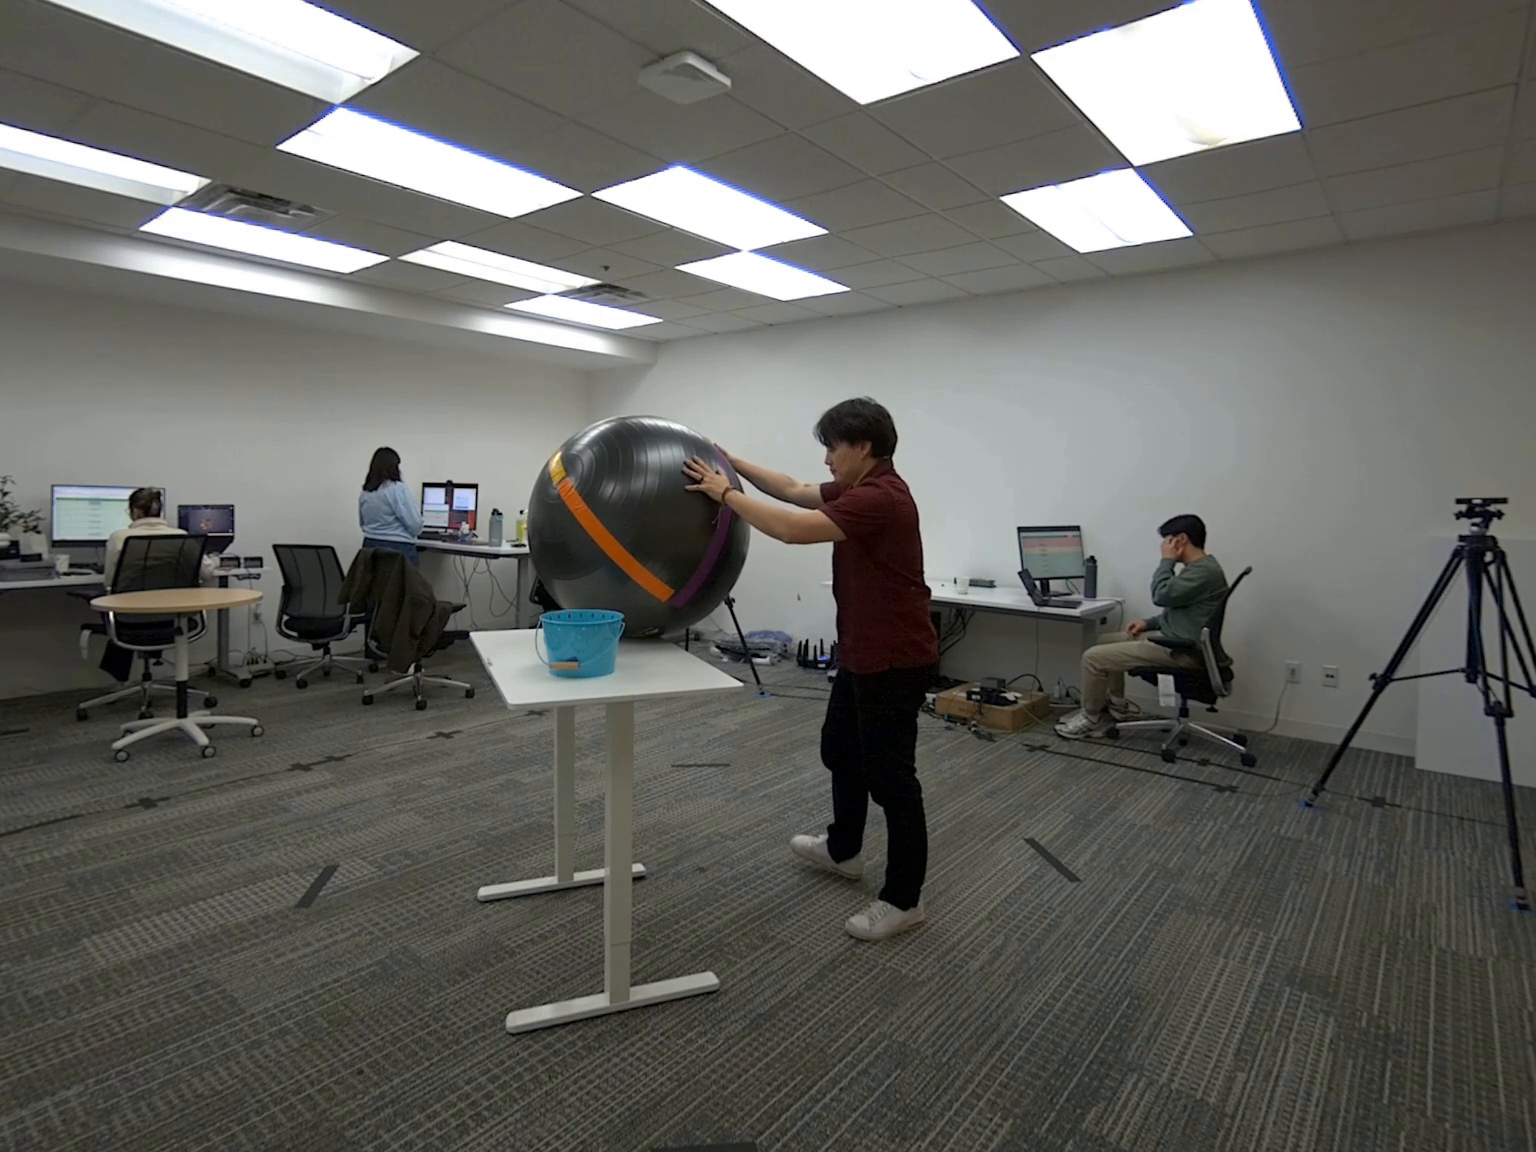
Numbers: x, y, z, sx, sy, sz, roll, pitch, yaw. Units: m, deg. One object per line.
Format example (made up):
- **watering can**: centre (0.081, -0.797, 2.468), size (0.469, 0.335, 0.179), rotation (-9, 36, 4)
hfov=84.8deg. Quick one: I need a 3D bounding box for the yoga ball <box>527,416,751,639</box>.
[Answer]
- **yoga ball**: centre (-0.459, -0.163, 2.904), size (0.757, 0.756, 0.762), rotation (1, 4, -2)
